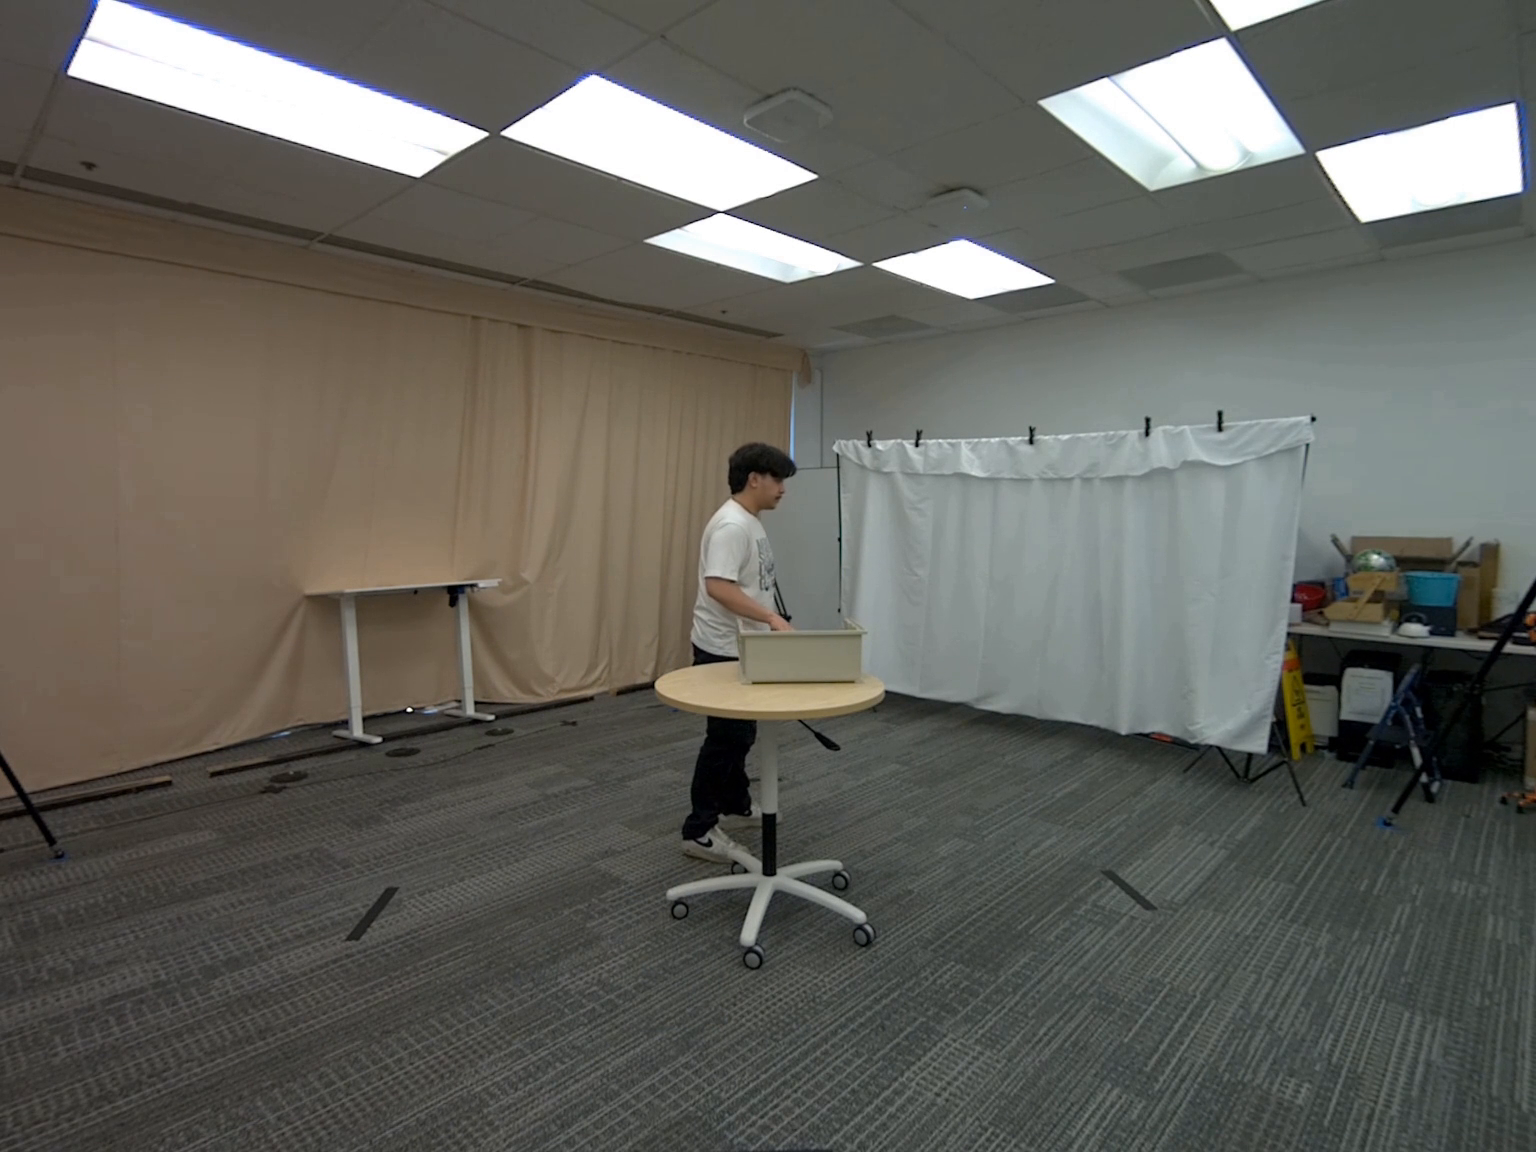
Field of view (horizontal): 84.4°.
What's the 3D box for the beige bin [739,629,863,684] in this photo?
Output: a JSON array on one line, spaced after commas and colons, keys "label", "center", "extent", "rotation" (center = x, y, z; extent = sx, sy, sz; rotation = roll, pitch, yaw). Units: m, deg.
[{"label": "beige bin", "center": [0.109, 0.253, 2.974], "extent": [0.421, 0.188, 0.380], "rotation": [-1, 6, -4]}]
